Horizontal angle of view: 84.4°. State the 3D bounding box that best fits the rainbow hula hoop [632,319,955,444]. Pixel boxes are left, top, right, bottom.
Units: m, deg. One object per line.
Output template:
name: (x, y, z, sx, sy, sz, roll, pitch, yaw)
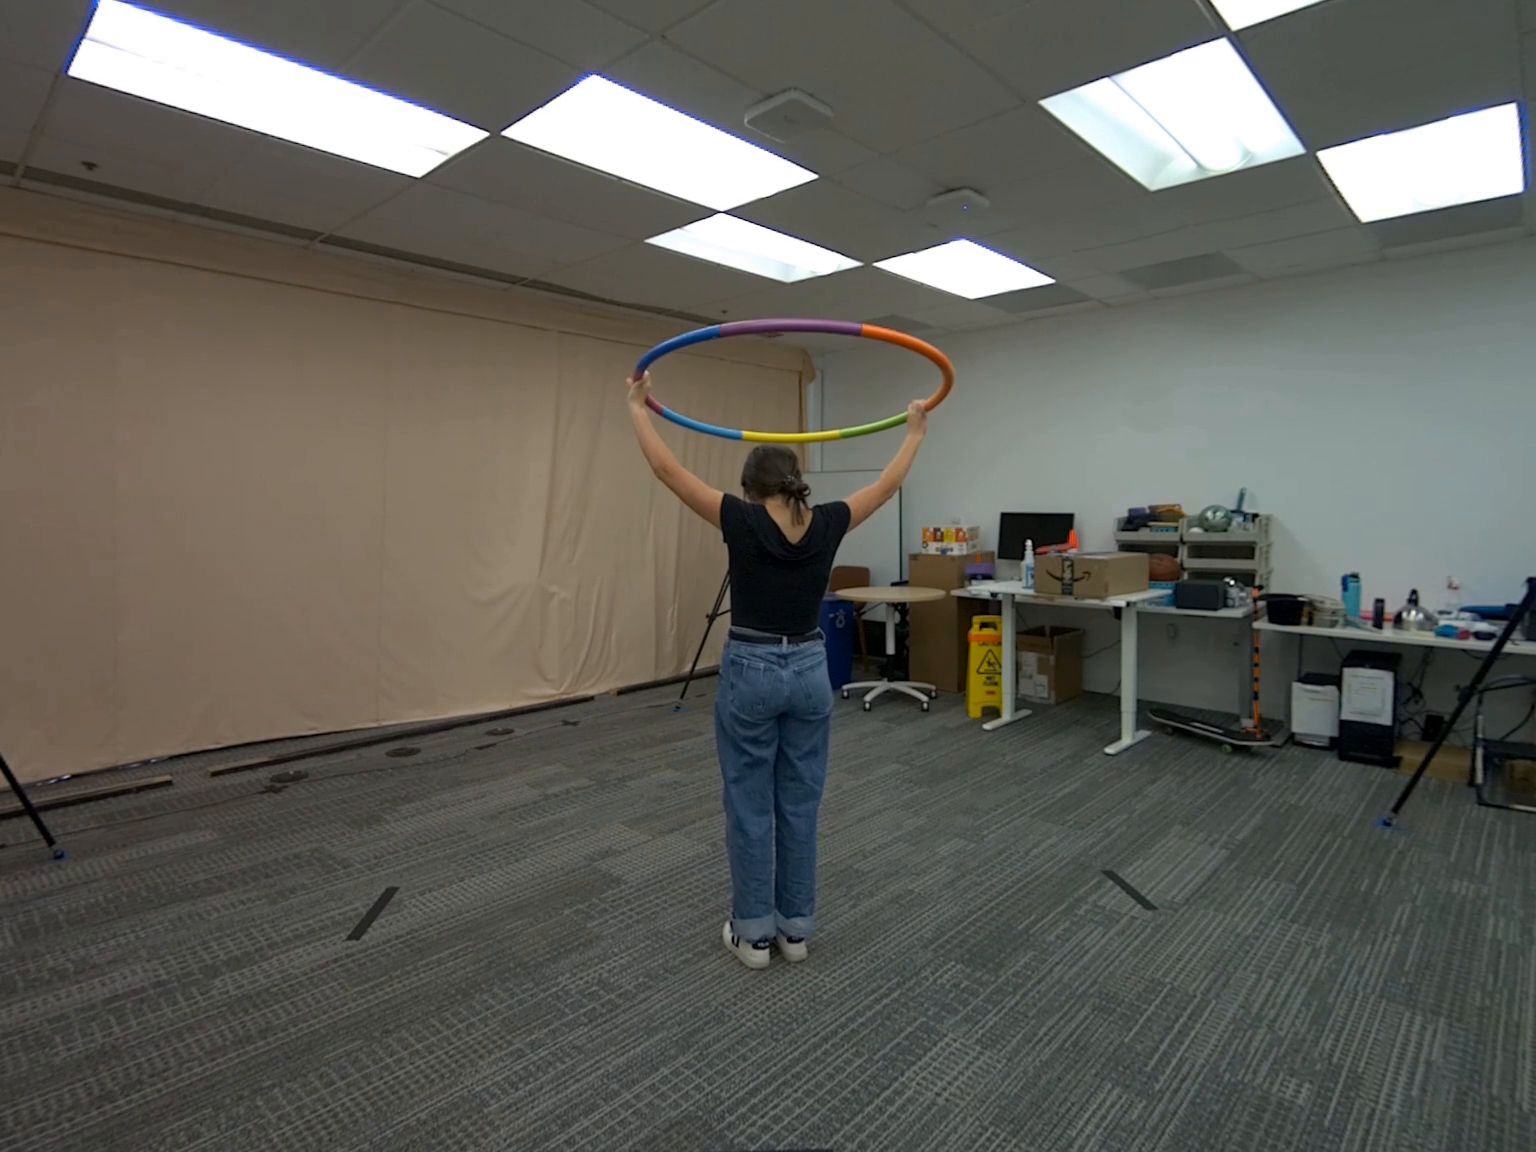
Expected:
rainbow hula hoop: (0.070, -0.583, 2.668, 0.978, 0.036, 0.973, 2, -9, -1)
